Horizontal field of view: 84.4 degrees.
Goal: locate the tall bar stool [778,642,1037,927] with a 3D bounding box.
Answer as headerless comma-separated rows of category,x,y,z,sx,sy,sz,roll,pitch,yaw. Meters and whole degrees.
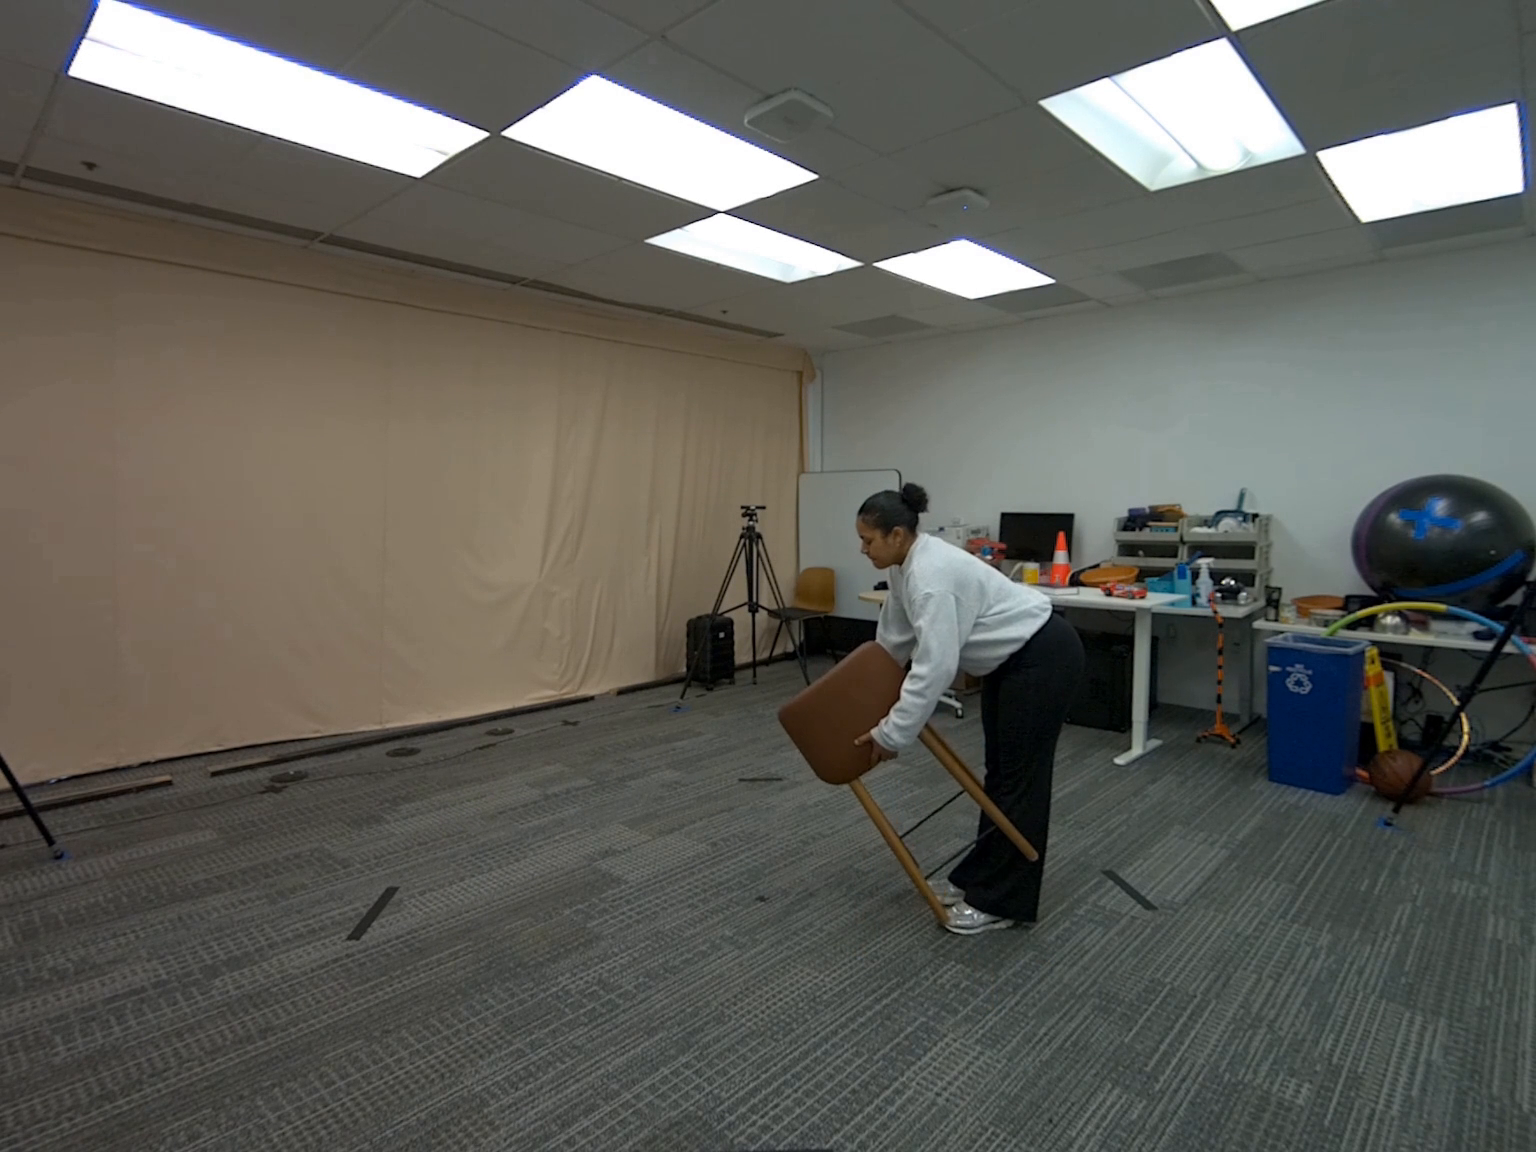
tall bar stool,0.441,0.647,2.876,0.457,0.886,0.469,-38,4,4
